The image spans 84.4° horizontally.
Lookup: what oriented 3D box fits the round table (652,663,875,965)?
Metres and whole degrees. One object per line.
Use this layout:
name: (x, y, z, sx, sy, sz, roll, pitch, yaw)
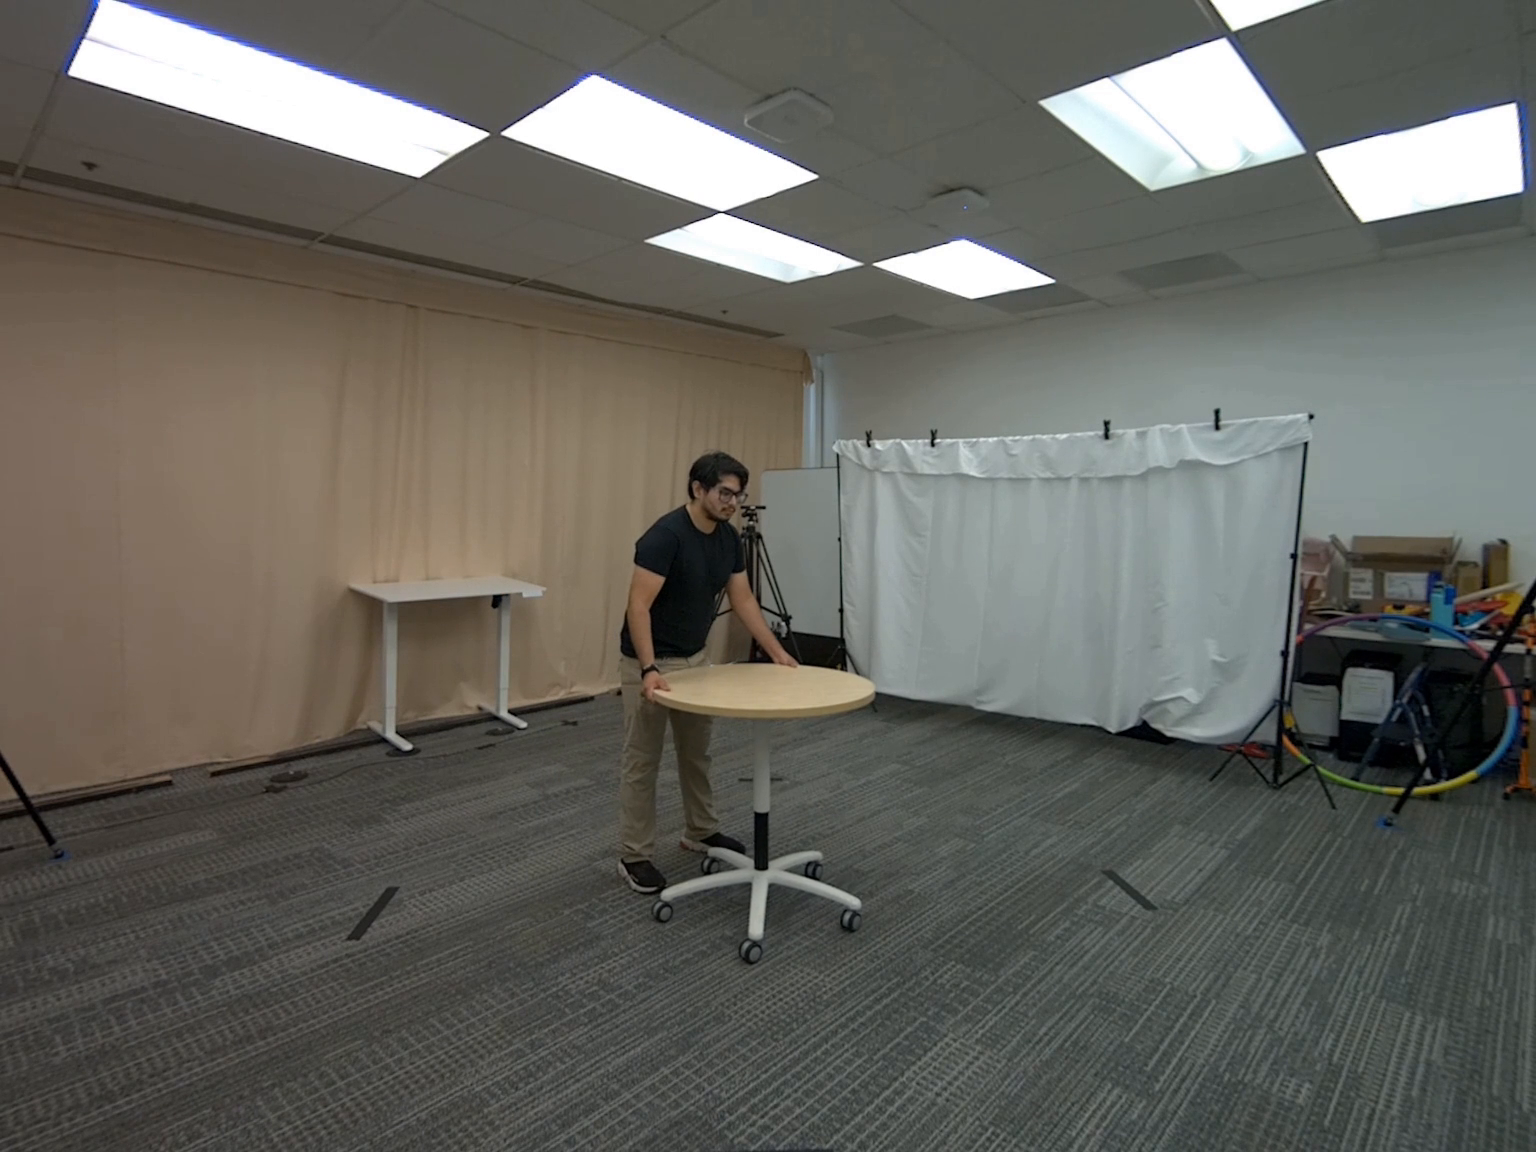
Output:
round table: (-0.002, 0.755, 2.906, 0.784, 0.785, 0.788, 0, 4, -2)
